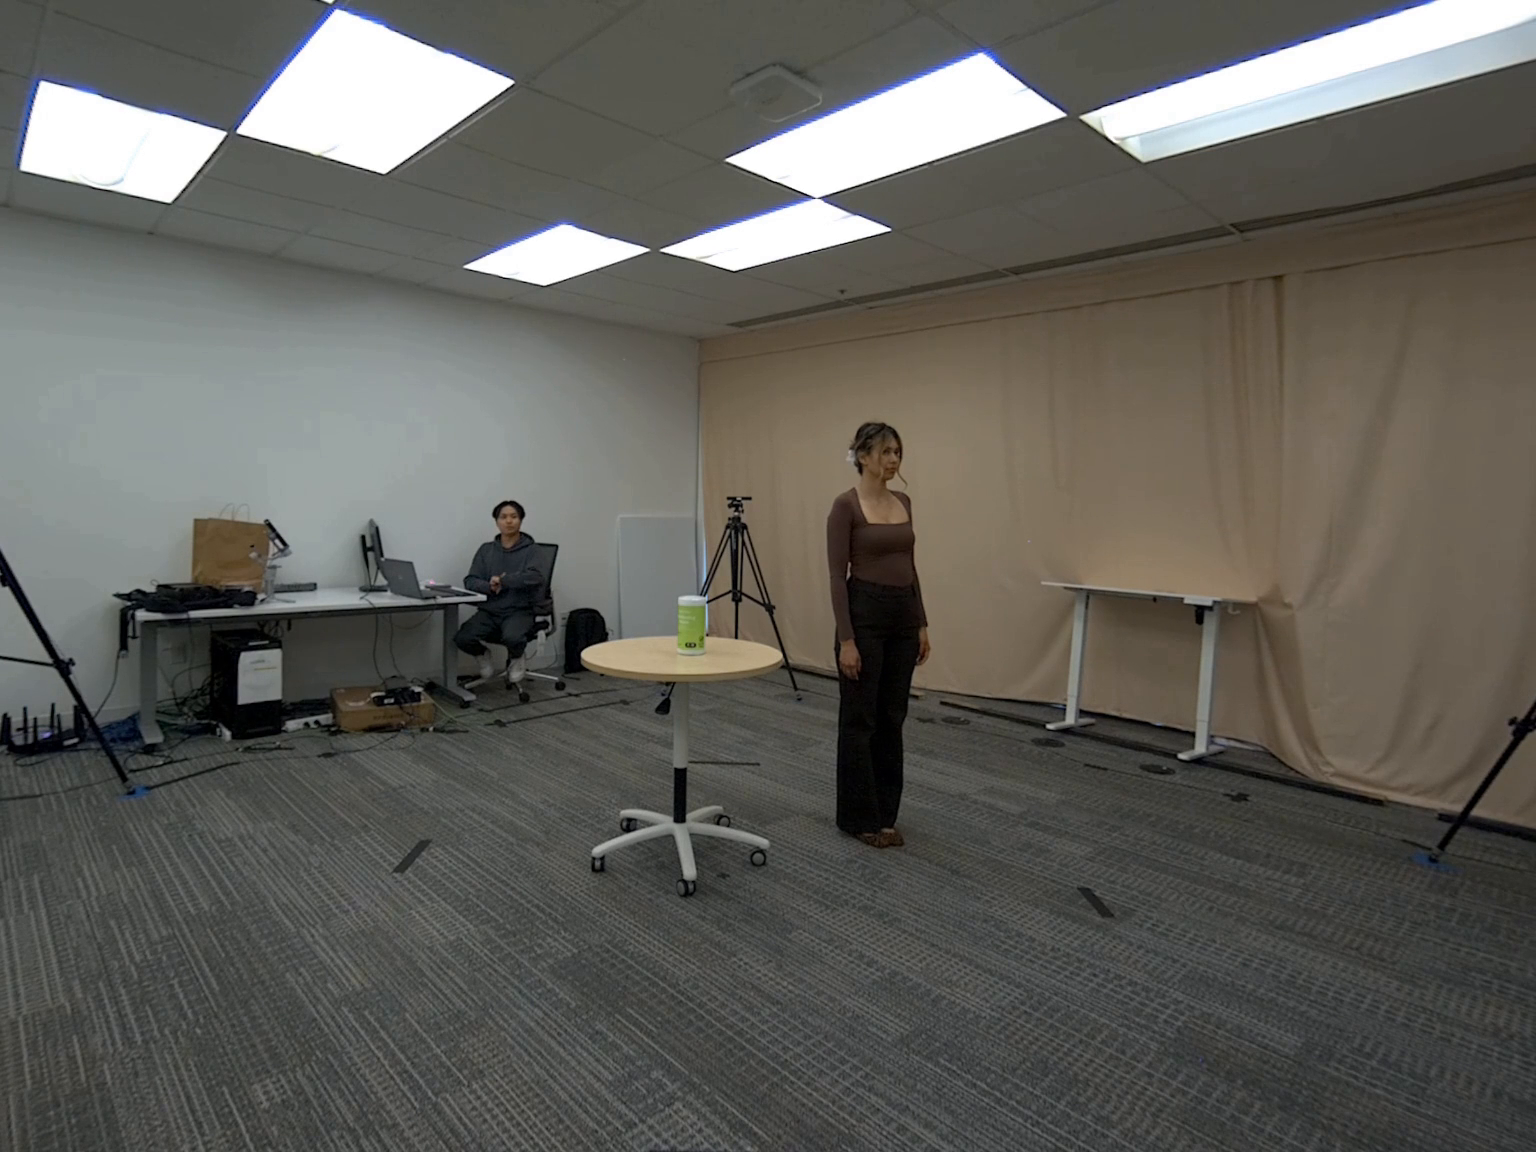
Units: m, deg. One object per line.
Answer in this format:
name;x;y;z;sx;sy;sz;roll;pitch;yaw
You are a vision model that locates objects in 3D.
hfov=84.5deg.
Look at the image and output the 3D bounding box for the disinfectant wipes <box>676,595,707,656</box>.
disinfectant wipes;-0.299;0.189;3.214;0.118;0.217;0.118;2;5;-2
